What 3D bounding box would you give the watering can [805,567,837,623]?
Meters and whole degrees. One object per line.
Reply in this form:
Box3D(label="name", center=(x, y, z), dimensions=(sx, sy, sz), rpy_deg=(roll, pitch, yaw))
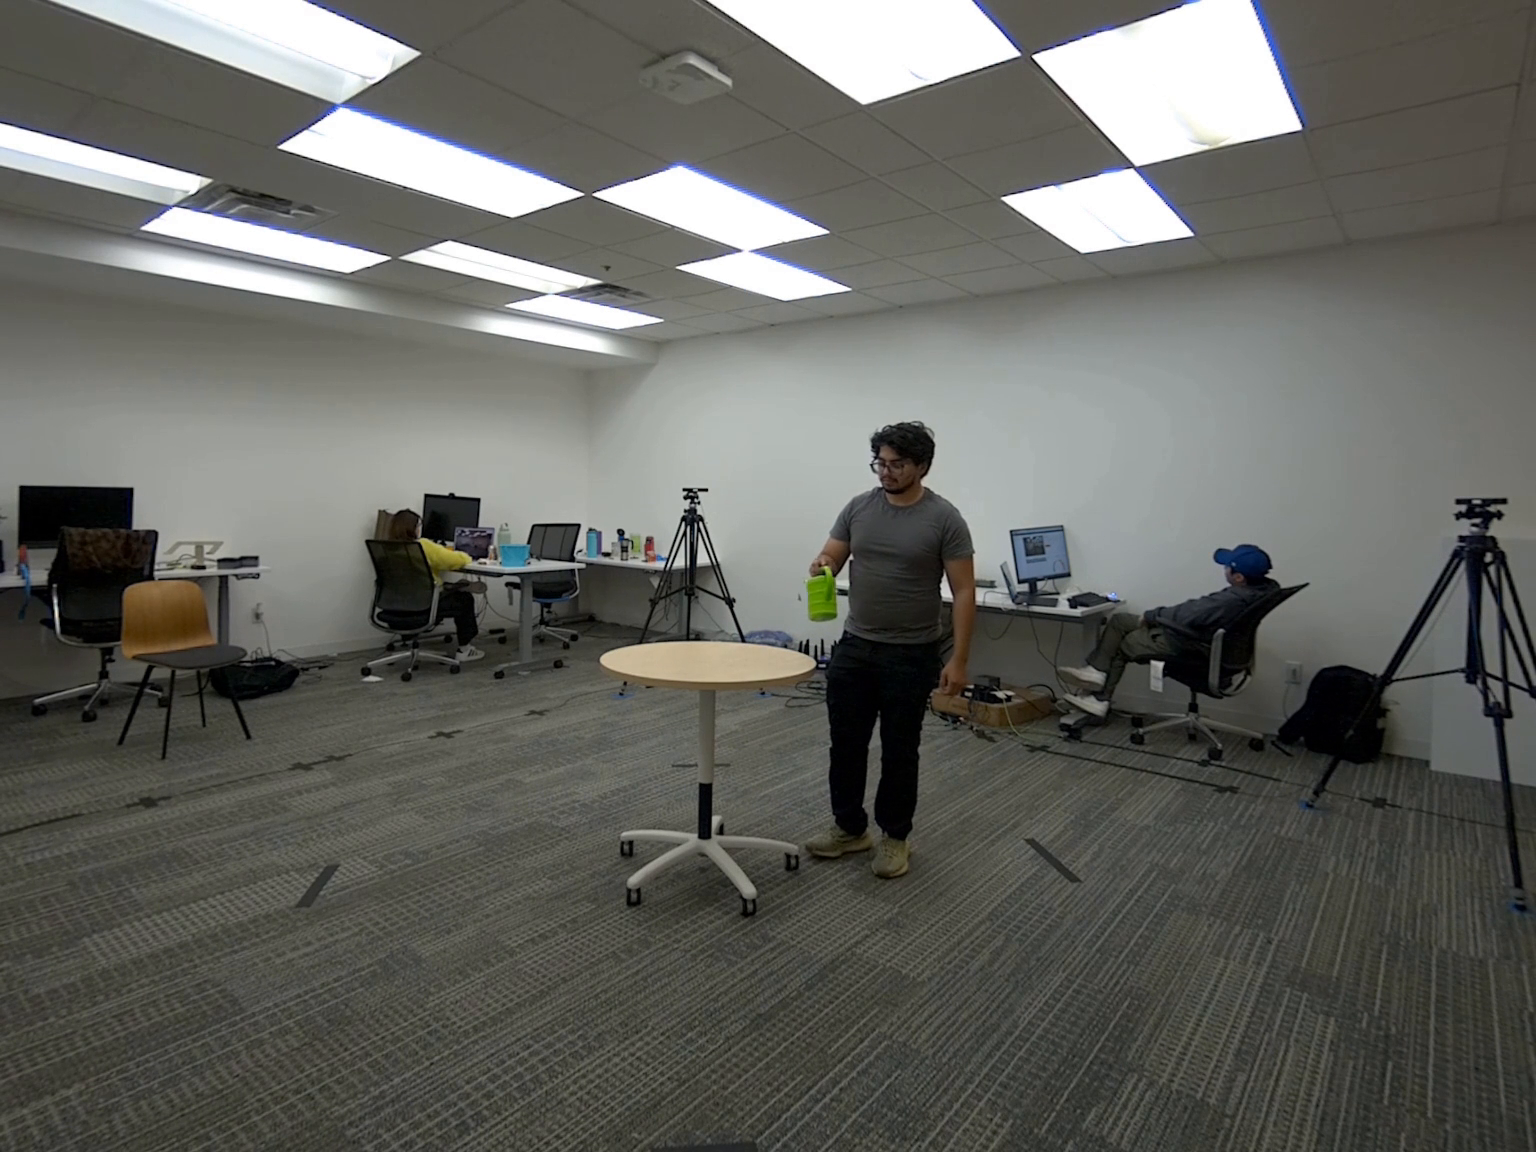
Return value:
Box3D(label="watering can", center=(0.179, 0.069, 2.954), dimensions=(0.098, 0.179, 0.274), rpy_deg=(0, -15, -1))
